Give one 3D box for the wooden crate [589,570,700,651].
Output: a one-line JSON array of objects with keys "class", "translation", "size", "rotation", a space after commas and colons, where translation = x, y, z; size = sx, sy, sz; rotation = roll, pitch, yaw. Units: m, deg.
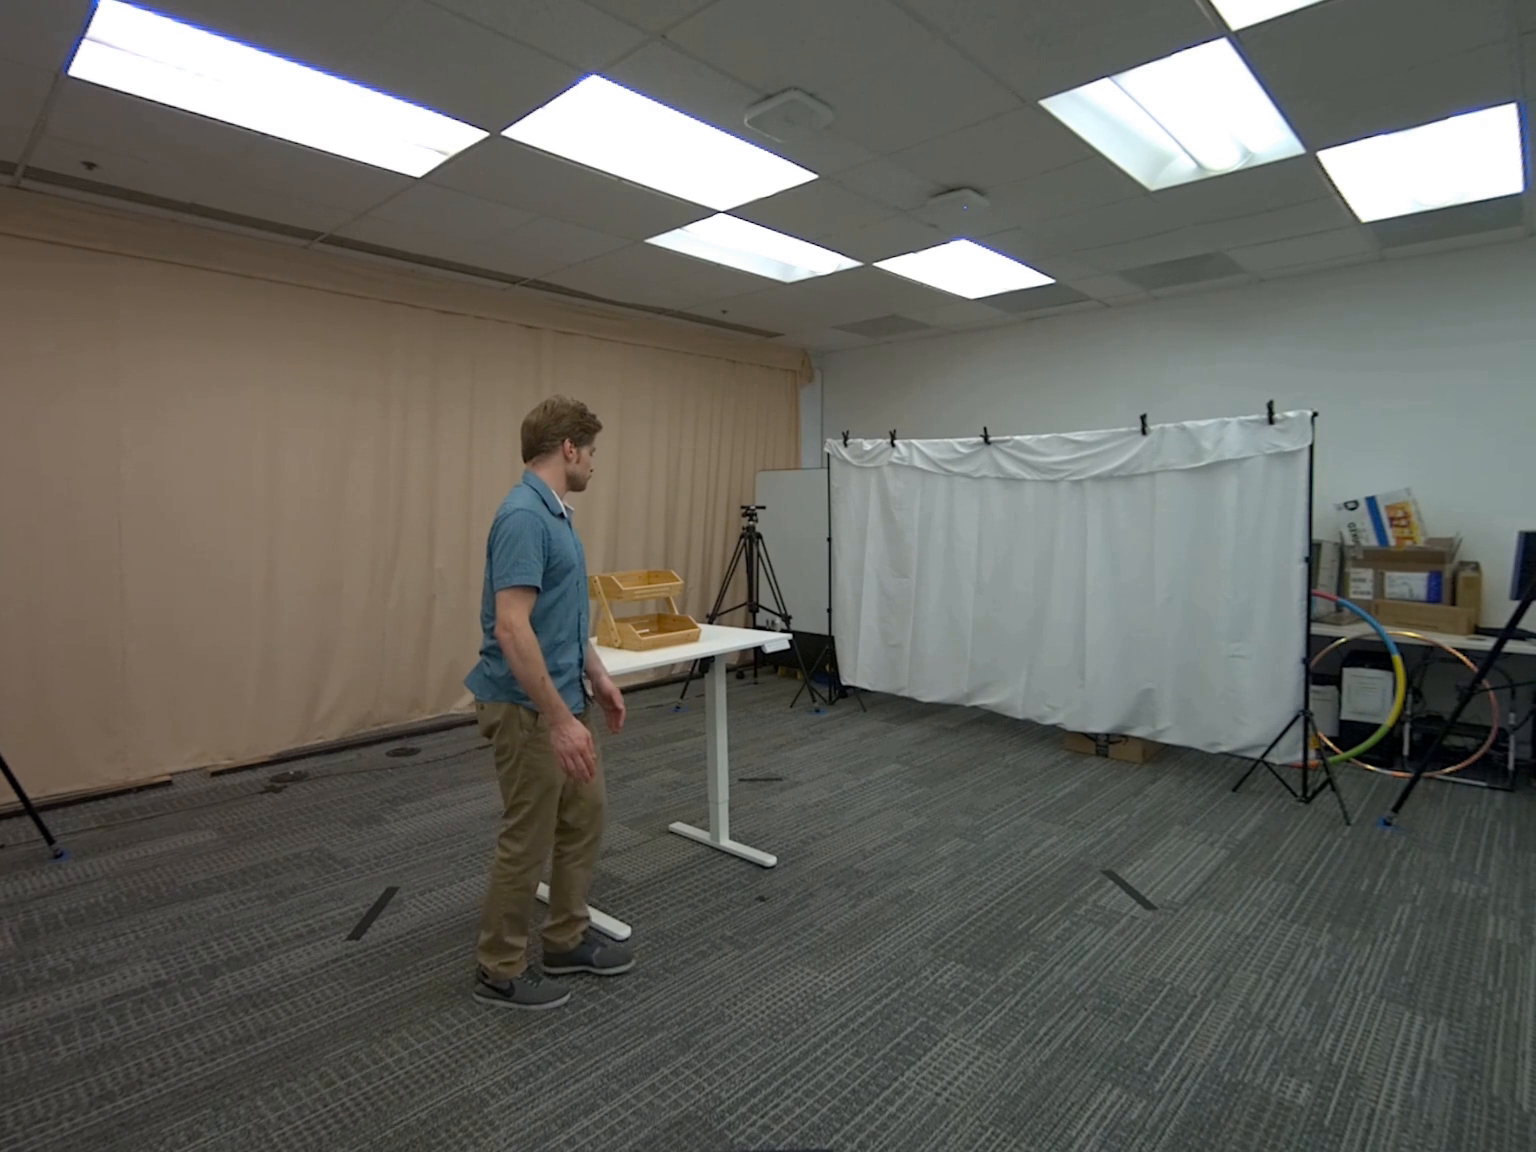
[{"class": "wooden crate", "translation": [-0.458, 0.118, 3.150], "size": [0.312, 0.273, 0.314], "rotation": [2, 5, 43]}]
